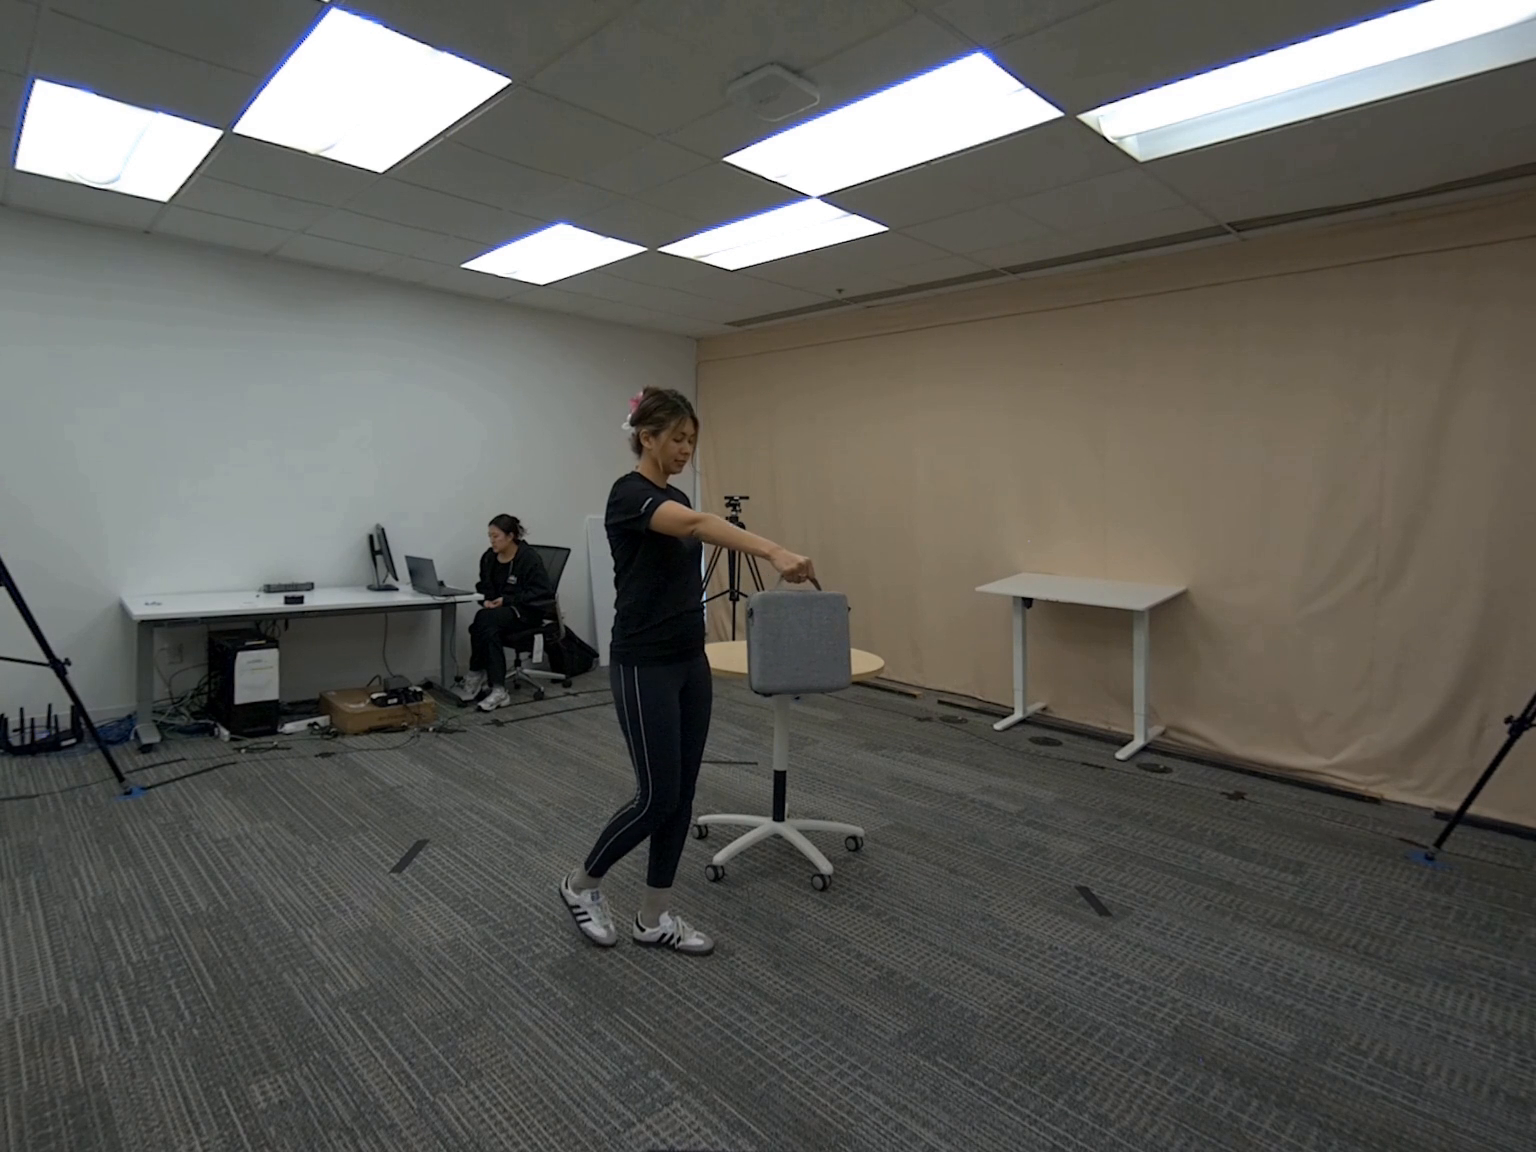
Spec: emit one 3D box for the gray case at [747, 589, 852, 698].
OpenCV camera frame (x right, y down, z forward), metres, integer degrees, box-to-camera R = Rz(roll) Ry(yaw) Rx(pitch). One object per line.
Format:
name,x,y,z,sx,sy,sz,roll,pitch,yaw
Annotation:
gray case,0.070,0.164,2.097,0.254,0.262,0.105,-1,-8,-14
